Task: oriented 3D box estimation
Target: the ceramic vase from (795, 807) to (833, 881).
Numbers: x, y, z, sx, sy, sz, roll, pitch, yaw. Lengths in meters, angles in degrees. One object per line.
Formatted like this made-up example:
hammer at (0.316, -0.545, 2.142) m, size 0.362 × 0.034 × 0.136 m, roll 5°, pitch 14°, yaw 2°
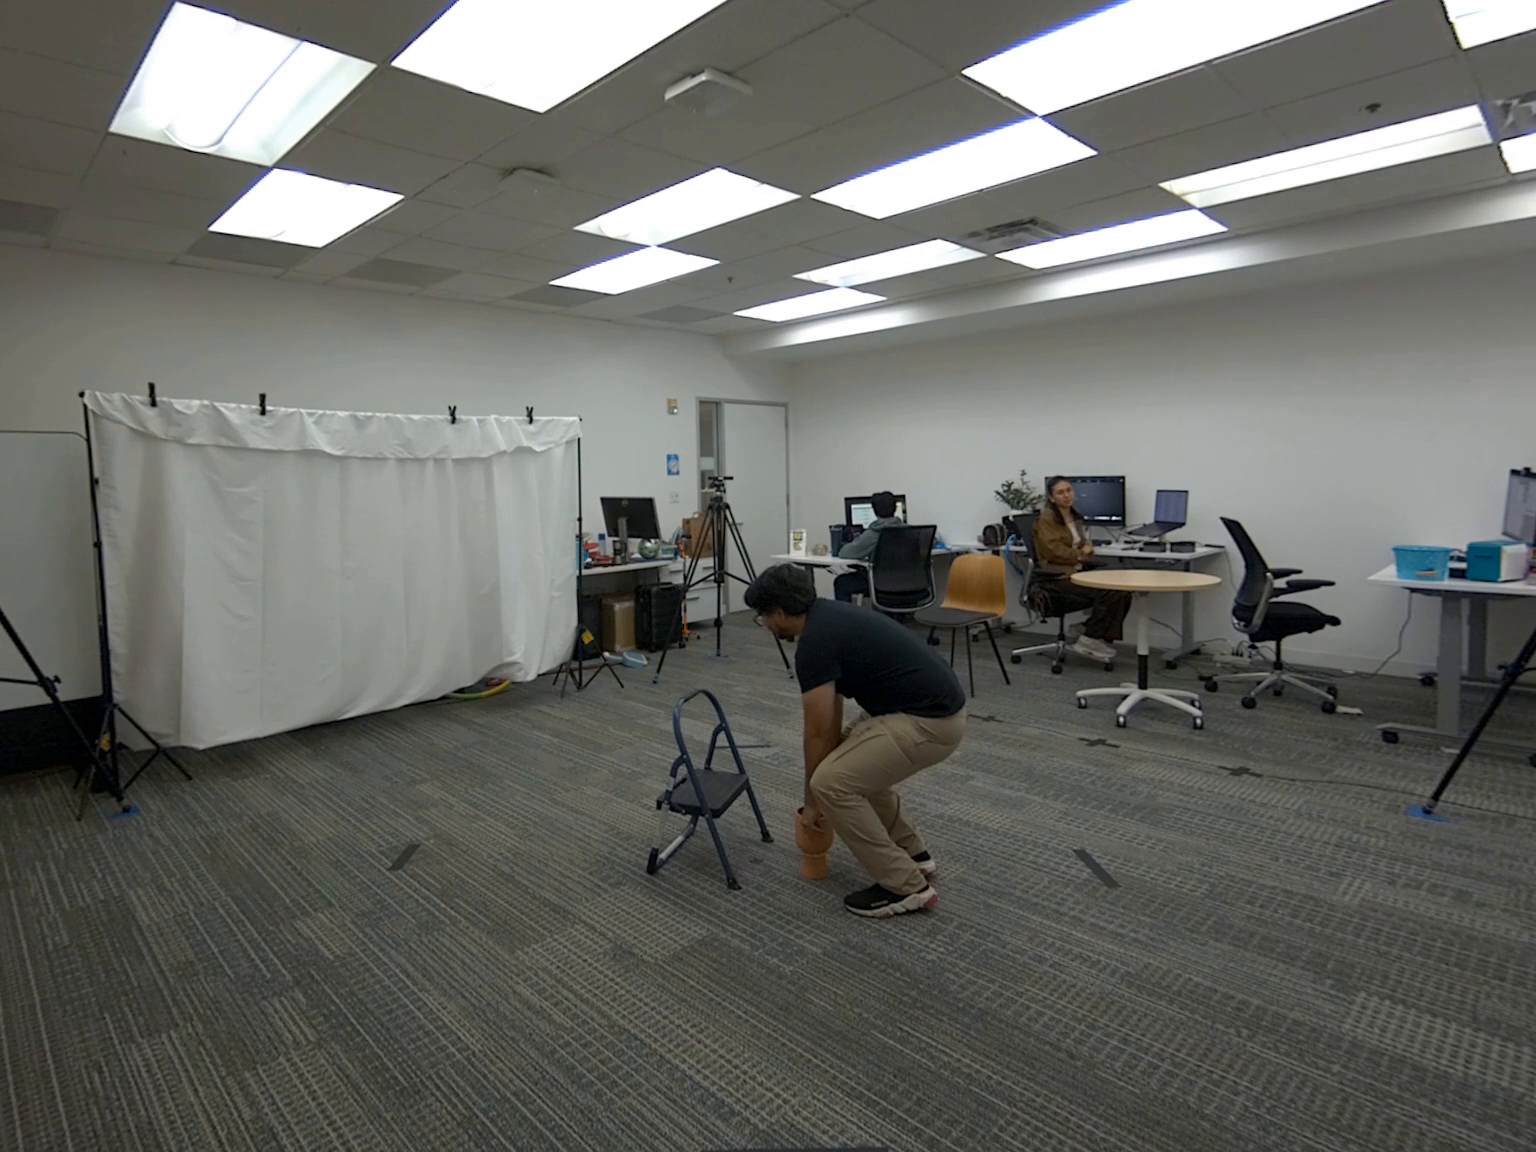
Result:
ceramic vase at (0.169, 0.926, 2.989) m, size 0.154 × 0.219 × 0.139 m, roll -3°, pitch 8°, yaw -38°
